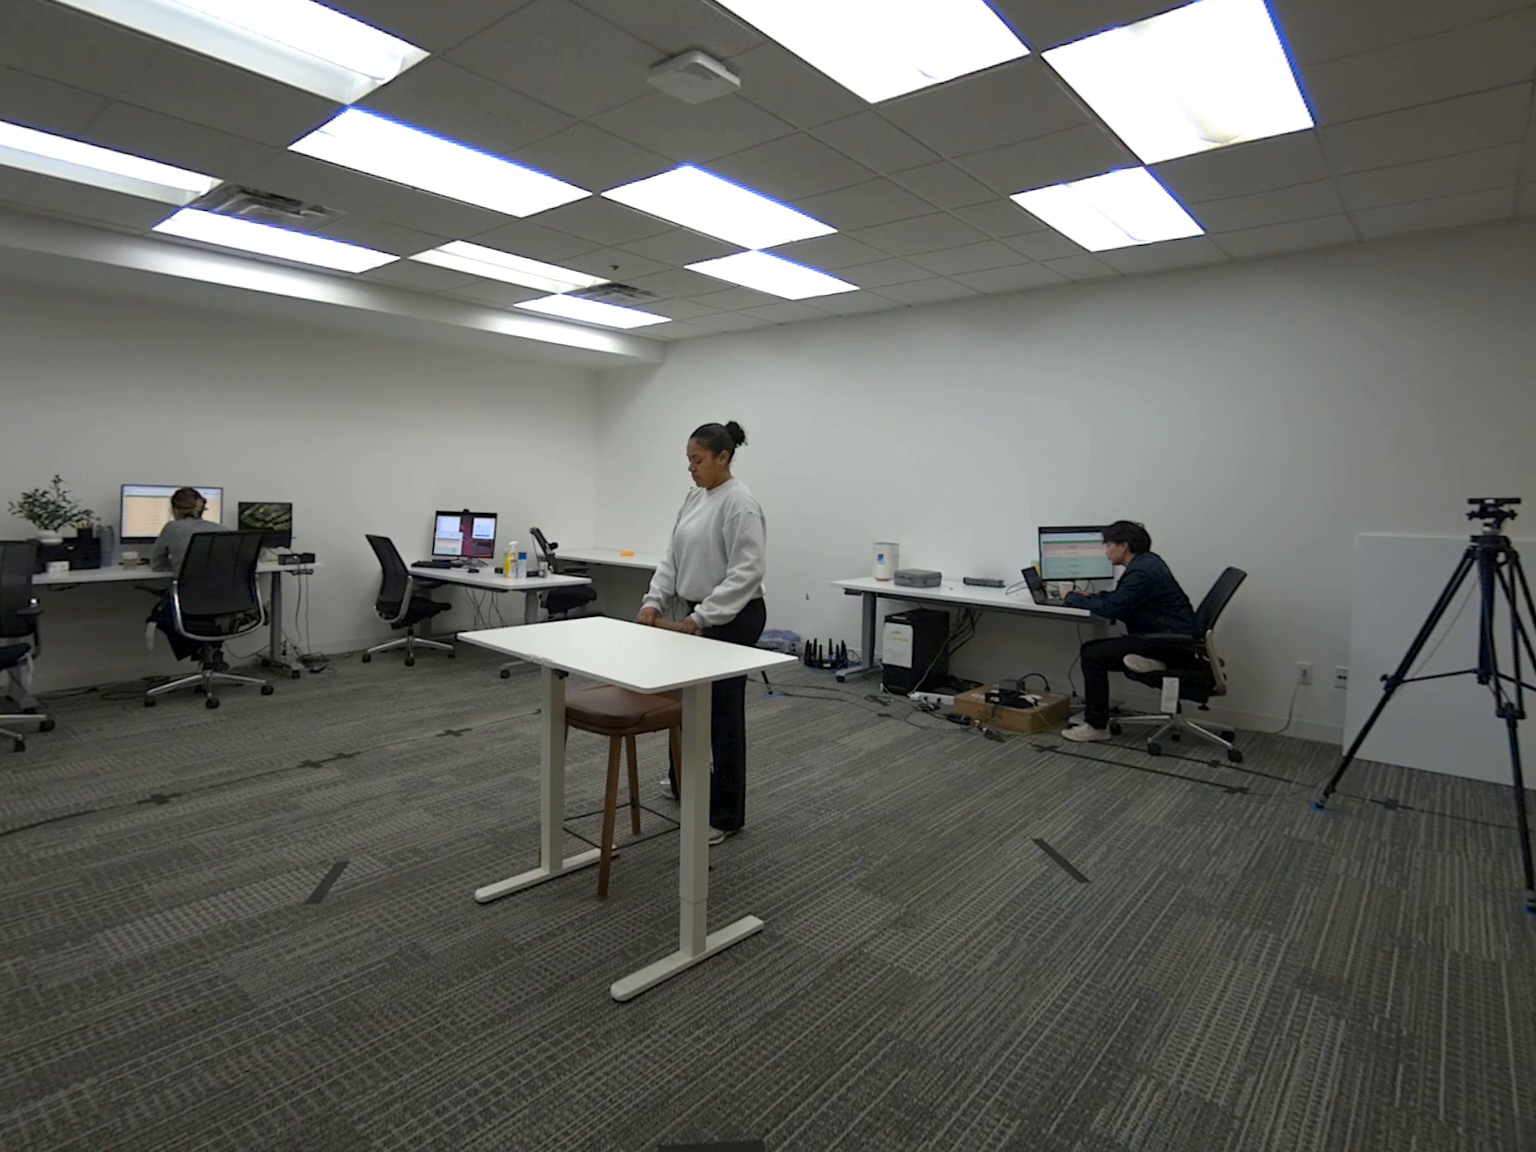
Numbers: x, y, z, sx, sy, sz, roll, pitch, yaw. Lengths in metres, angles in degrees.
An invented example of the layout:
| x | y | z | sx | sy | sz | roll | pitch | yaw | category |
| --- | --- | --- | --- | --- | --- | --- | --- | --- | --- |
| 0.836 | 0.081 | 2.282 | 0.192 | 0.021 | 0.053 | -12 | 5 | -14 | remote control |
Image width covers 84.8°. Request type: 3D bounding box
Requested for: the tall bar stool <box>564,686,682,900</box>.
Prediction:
| x | y | z | sx | sy | sz | roll | pitch | yaw | category |
| --- | --- | --- | --- | --- | --- | --- | --- | --- | --- |
| -0.536 | 0.618 | 3.135 | 0.472 | 0.889 | 0.452 | 3 | 1 | 45 | tall bar stool |
